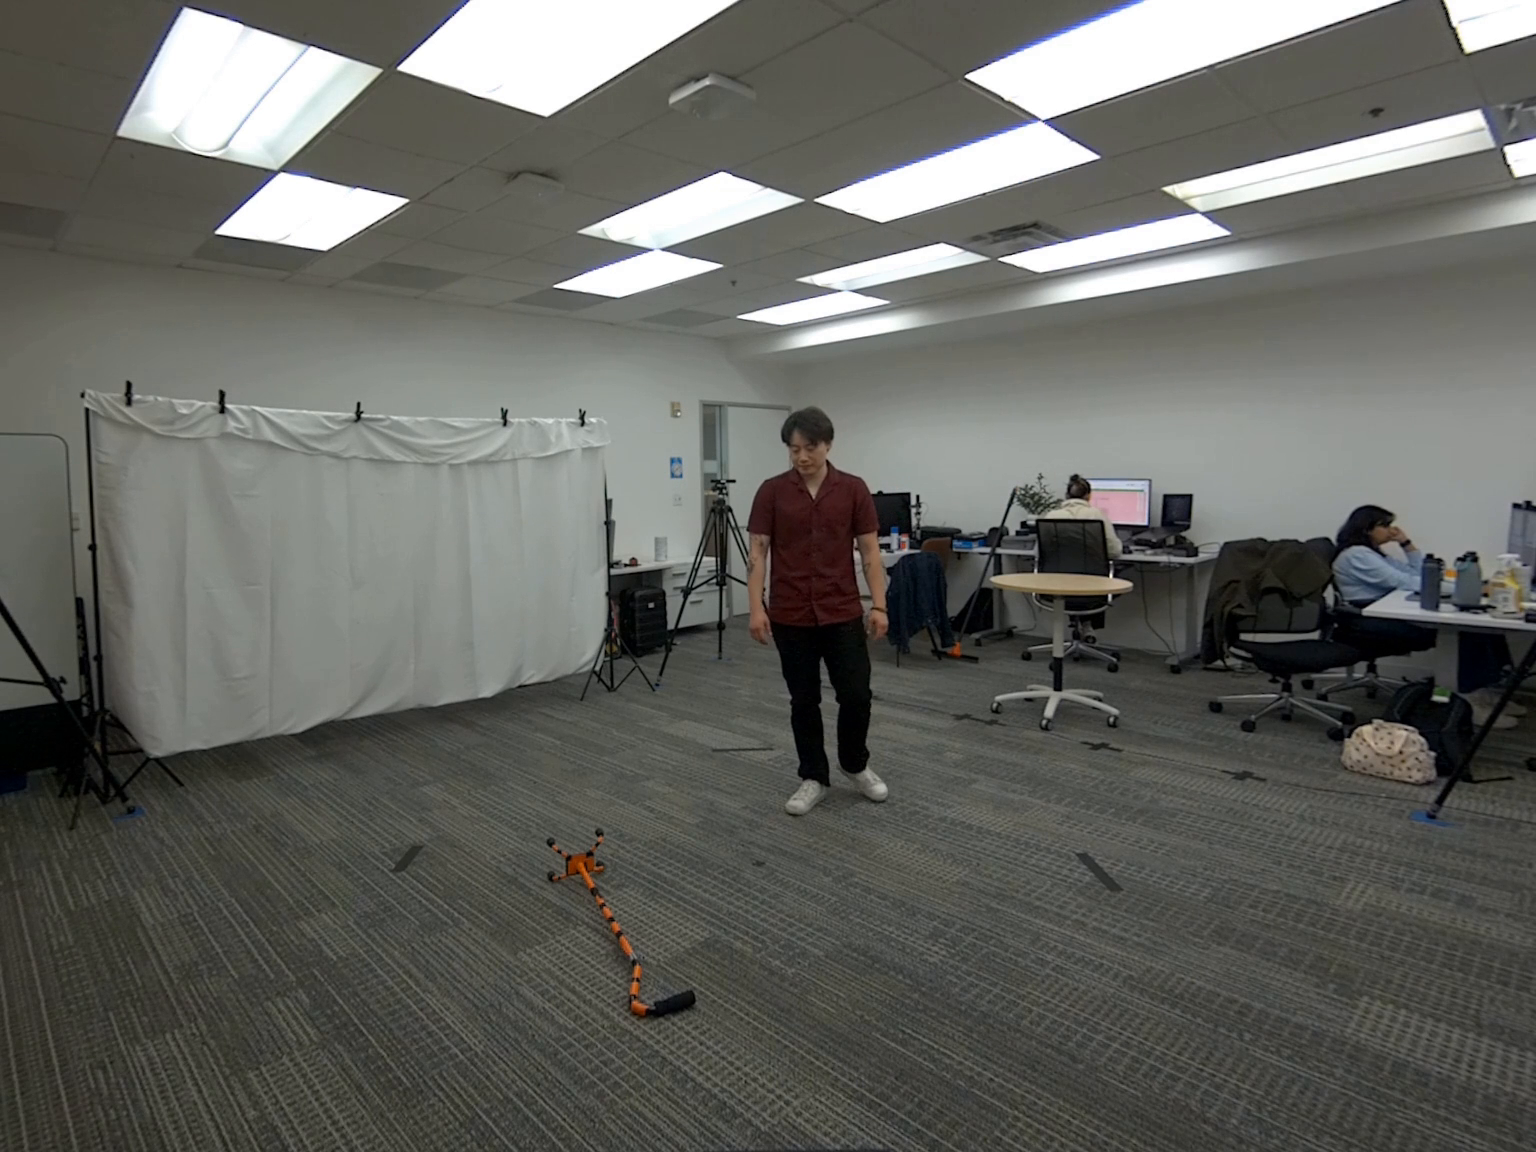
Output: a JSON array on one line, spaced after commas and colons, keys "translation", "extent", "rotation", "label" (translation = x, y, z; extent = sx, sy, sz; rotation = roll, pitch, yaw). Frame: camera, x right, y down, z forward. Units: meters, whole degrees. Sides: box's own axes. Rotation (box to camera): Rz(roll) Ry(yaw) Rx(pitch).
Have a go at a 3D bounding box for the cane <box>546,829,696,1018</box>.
[{"translation": [-0.479, 1.055, 2.643], "extent": [0.202, 0.150, 0.934], "rotation": [-6, 11, -25], "label": "cane"}]
